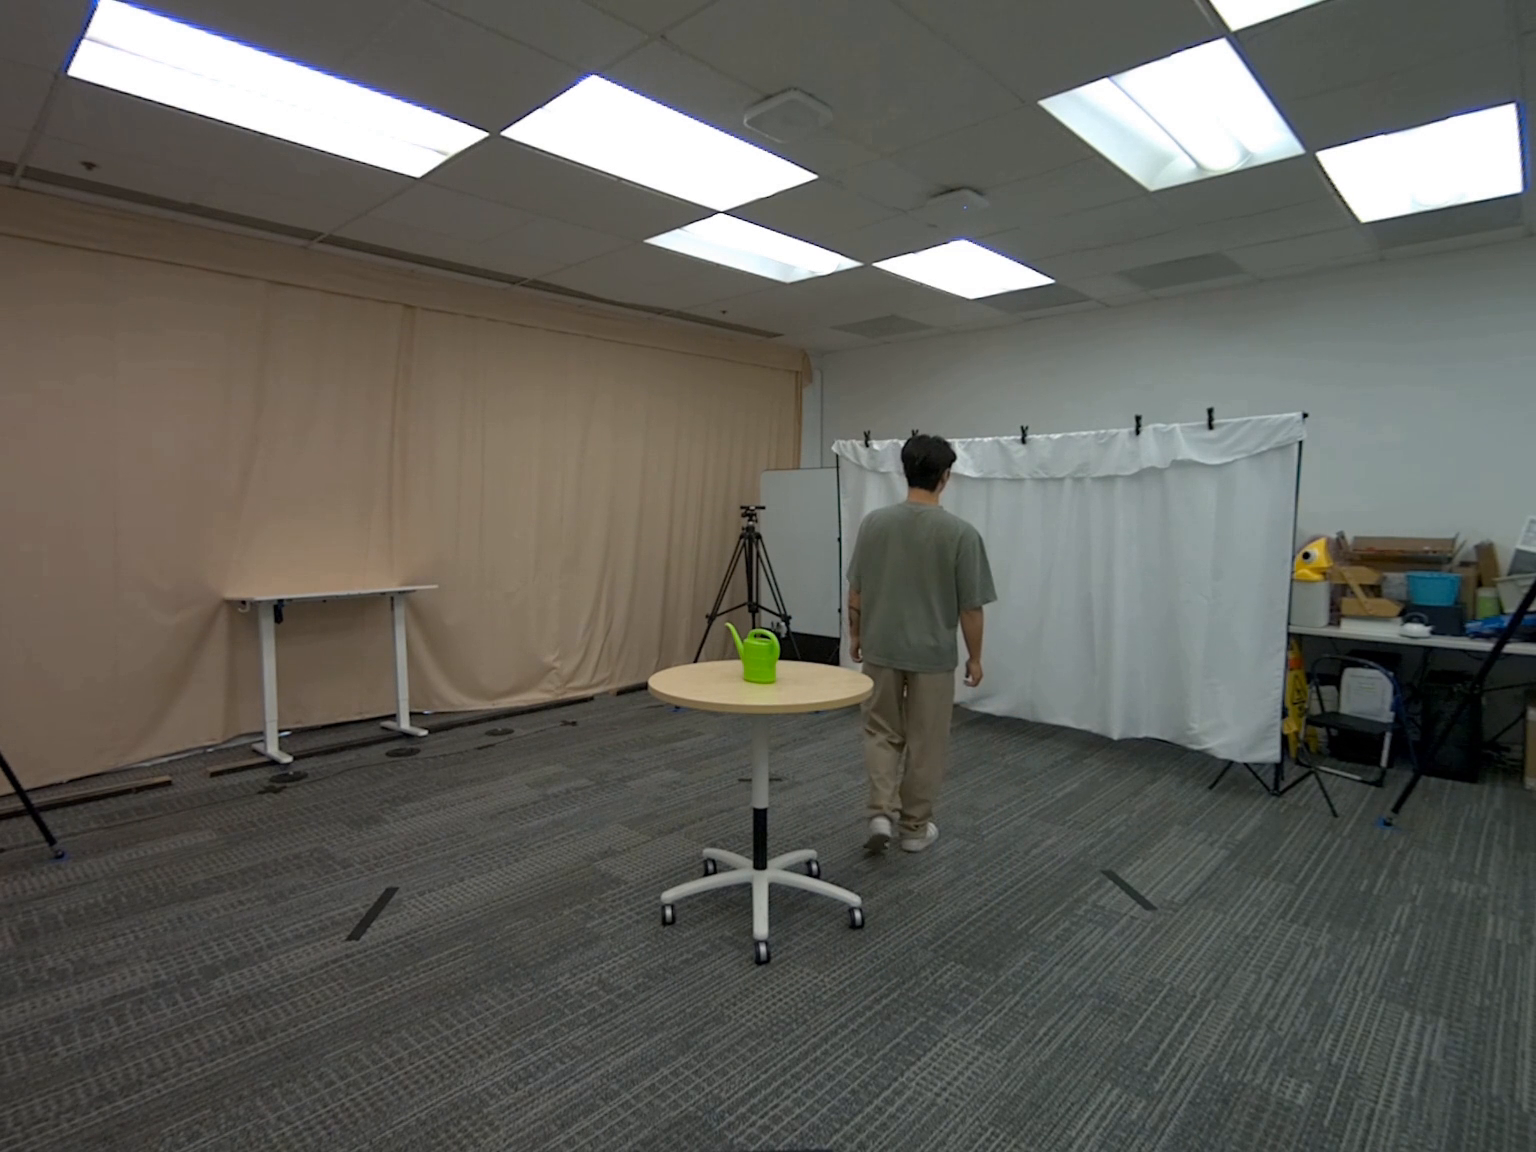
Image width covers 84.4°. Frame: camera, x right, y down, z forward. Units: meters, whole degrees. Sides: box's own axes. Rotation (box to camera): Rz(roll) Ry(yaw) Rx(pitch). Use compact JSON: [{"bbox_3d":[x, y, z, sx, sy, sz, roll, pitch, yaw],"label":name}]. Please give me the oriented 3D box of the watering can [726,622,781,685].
[{"bbox_3d":[-0.043,0.264,2.904,0.095,0.176,0.286,0,5,-27],"label":"watering can"}]
